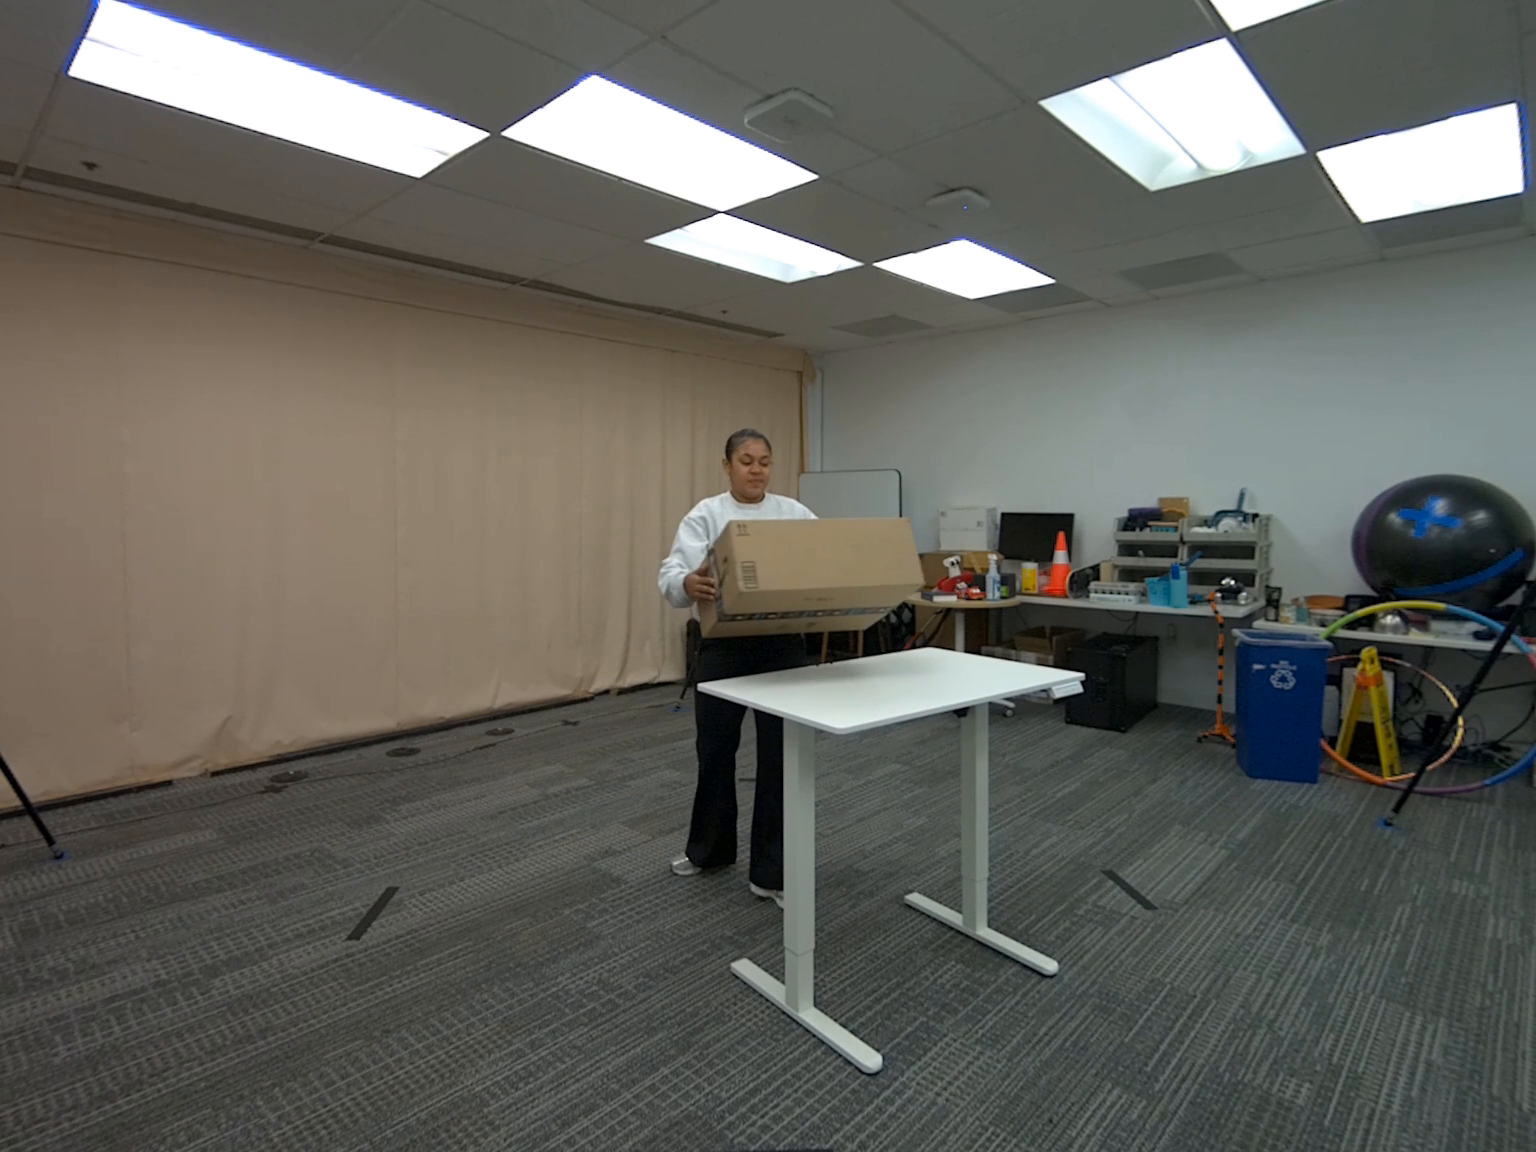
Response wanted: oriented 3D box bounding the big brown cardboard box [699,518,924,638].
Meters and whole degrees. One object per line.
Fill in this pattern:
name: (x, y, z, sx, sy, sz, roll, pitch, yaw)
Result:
big brown cardboard box: (0.097, 0.018, 2.560, 0.578, 0.237, 0.419, 0, -22, -18)
